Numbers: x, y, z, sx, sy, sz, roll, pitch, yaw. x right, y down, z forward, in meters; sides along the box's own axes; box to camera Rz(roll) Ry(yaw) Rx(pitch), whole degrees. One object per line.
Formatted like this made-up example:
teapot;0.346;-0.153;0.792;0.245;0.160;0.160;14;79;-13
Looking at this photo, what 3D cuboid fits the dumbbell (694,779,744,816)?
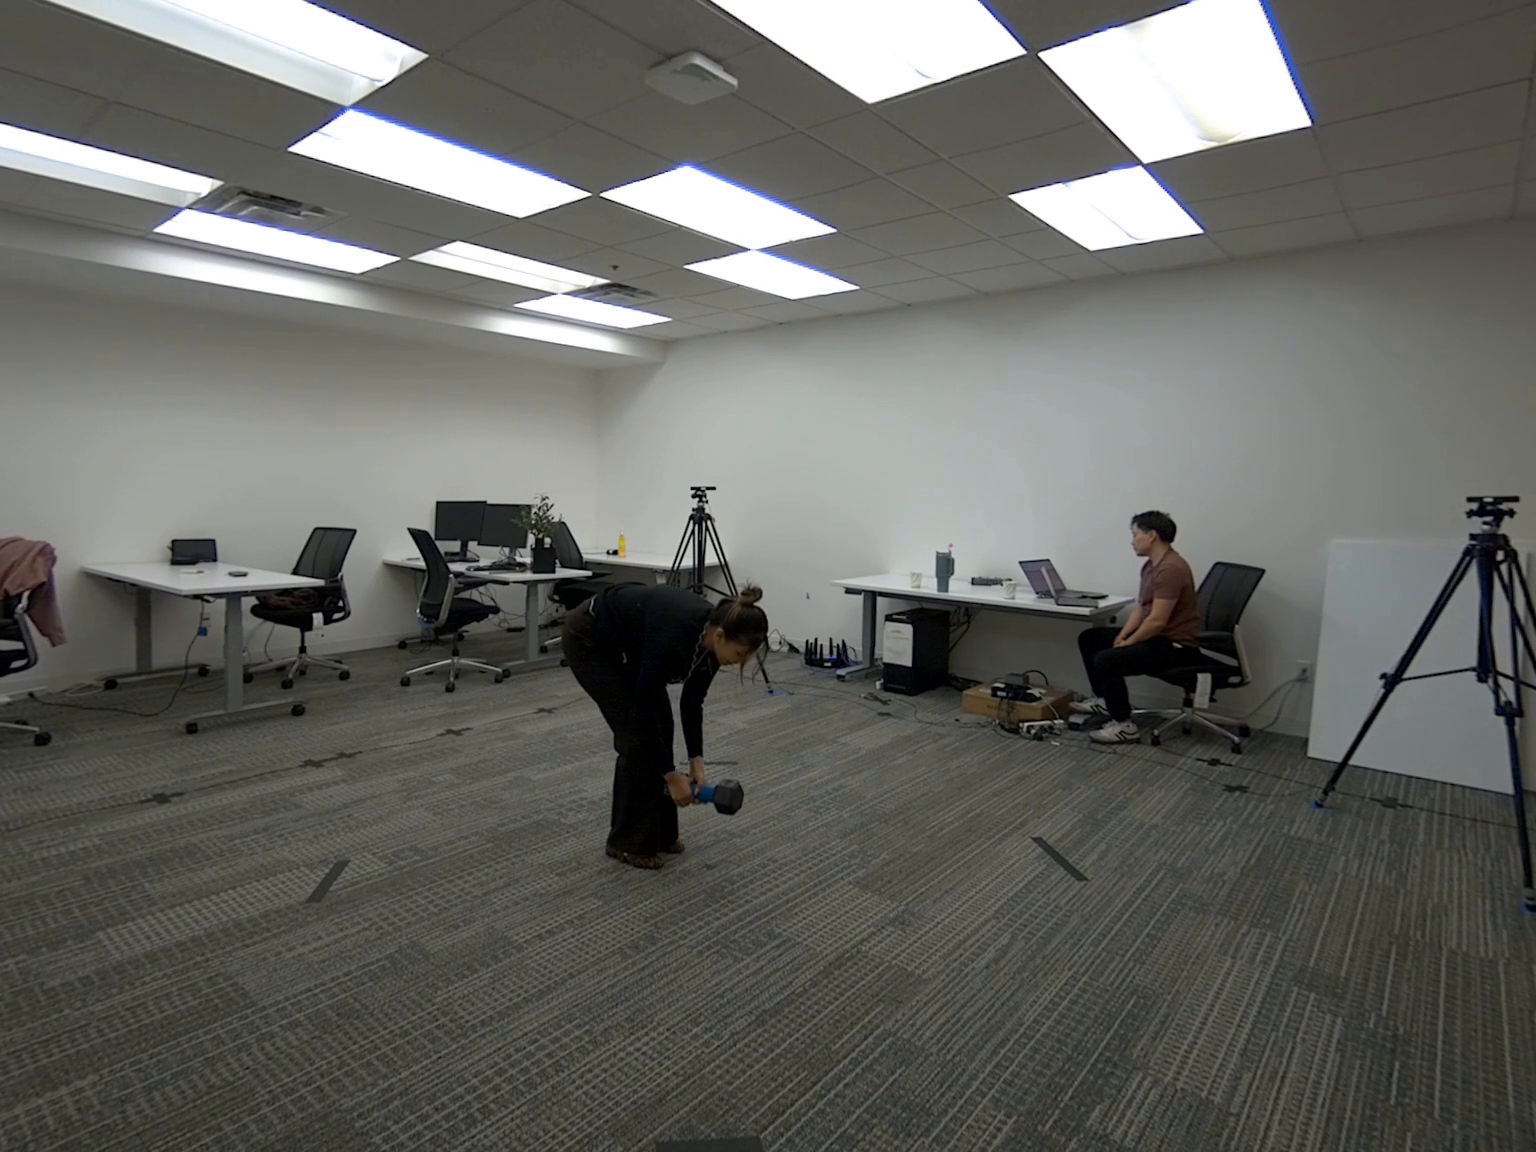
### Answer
dumbbell;-0.248;0.796;3.110;0.301;0.125;0.104;-1;-22;26
